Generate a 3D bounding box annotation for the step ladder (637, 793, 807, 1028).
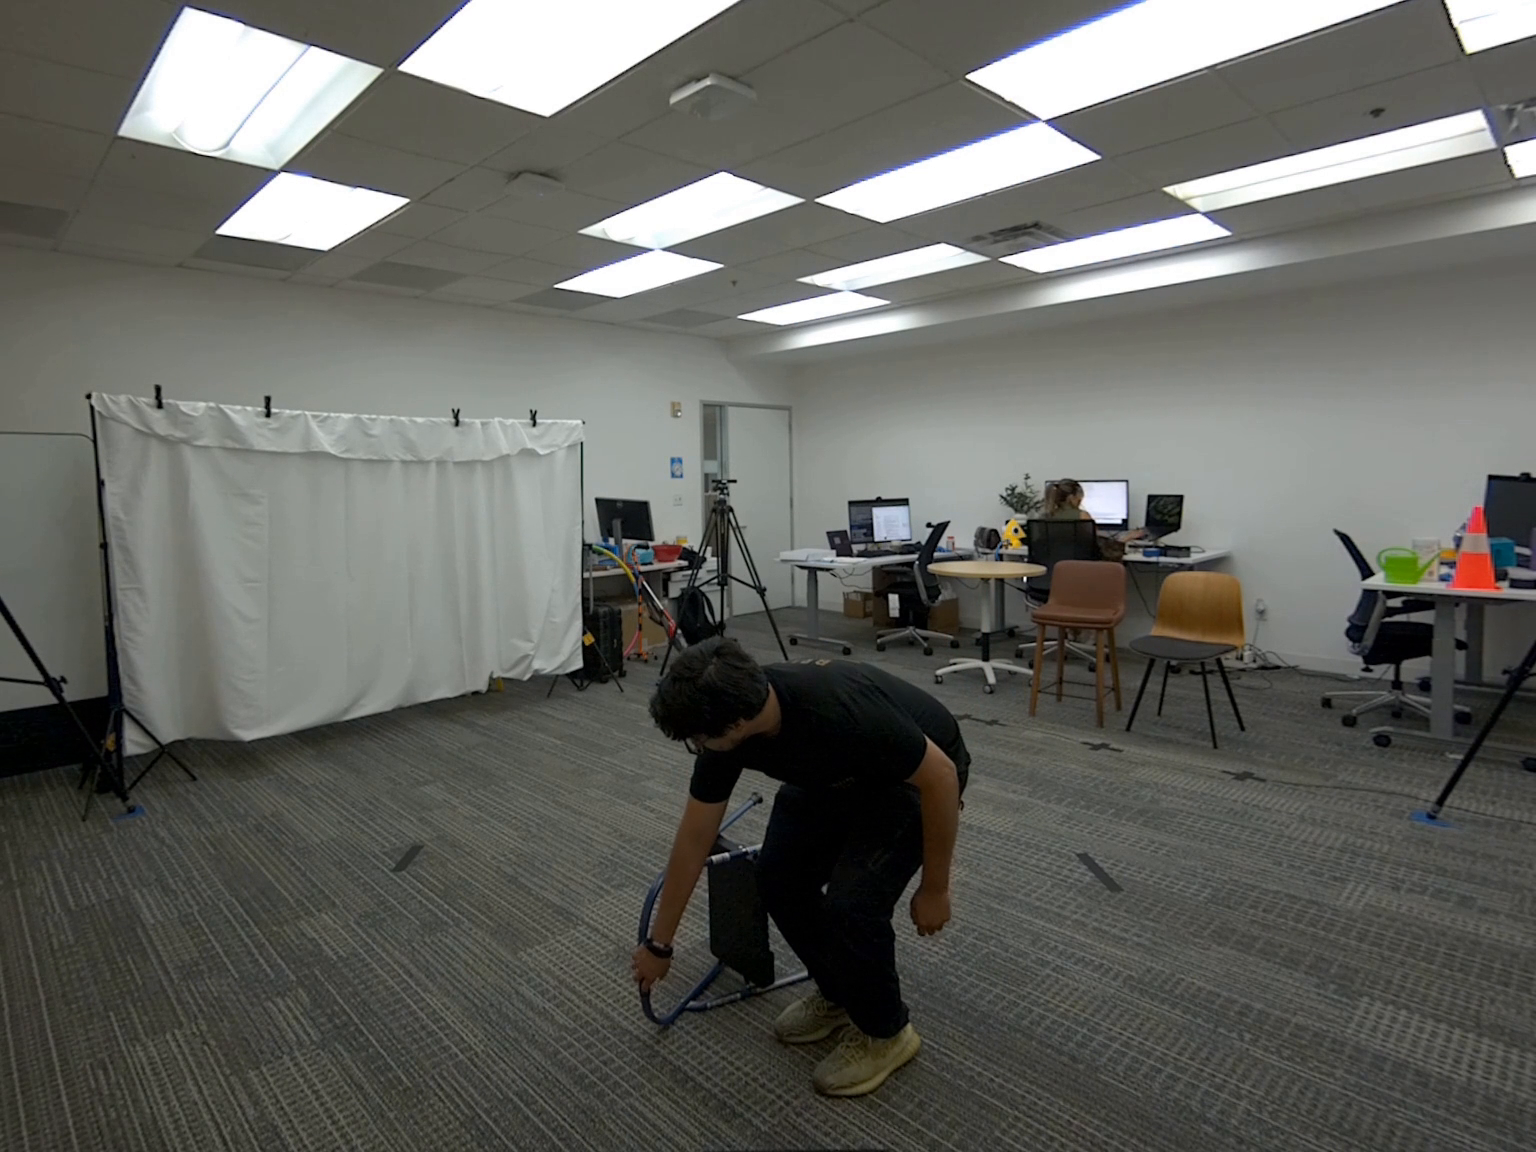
[{"bbox_3d":[-0.133,0.931,2.356,0.591,0.428,0.360,-9,8,-41],"label":"step ladder"}]
